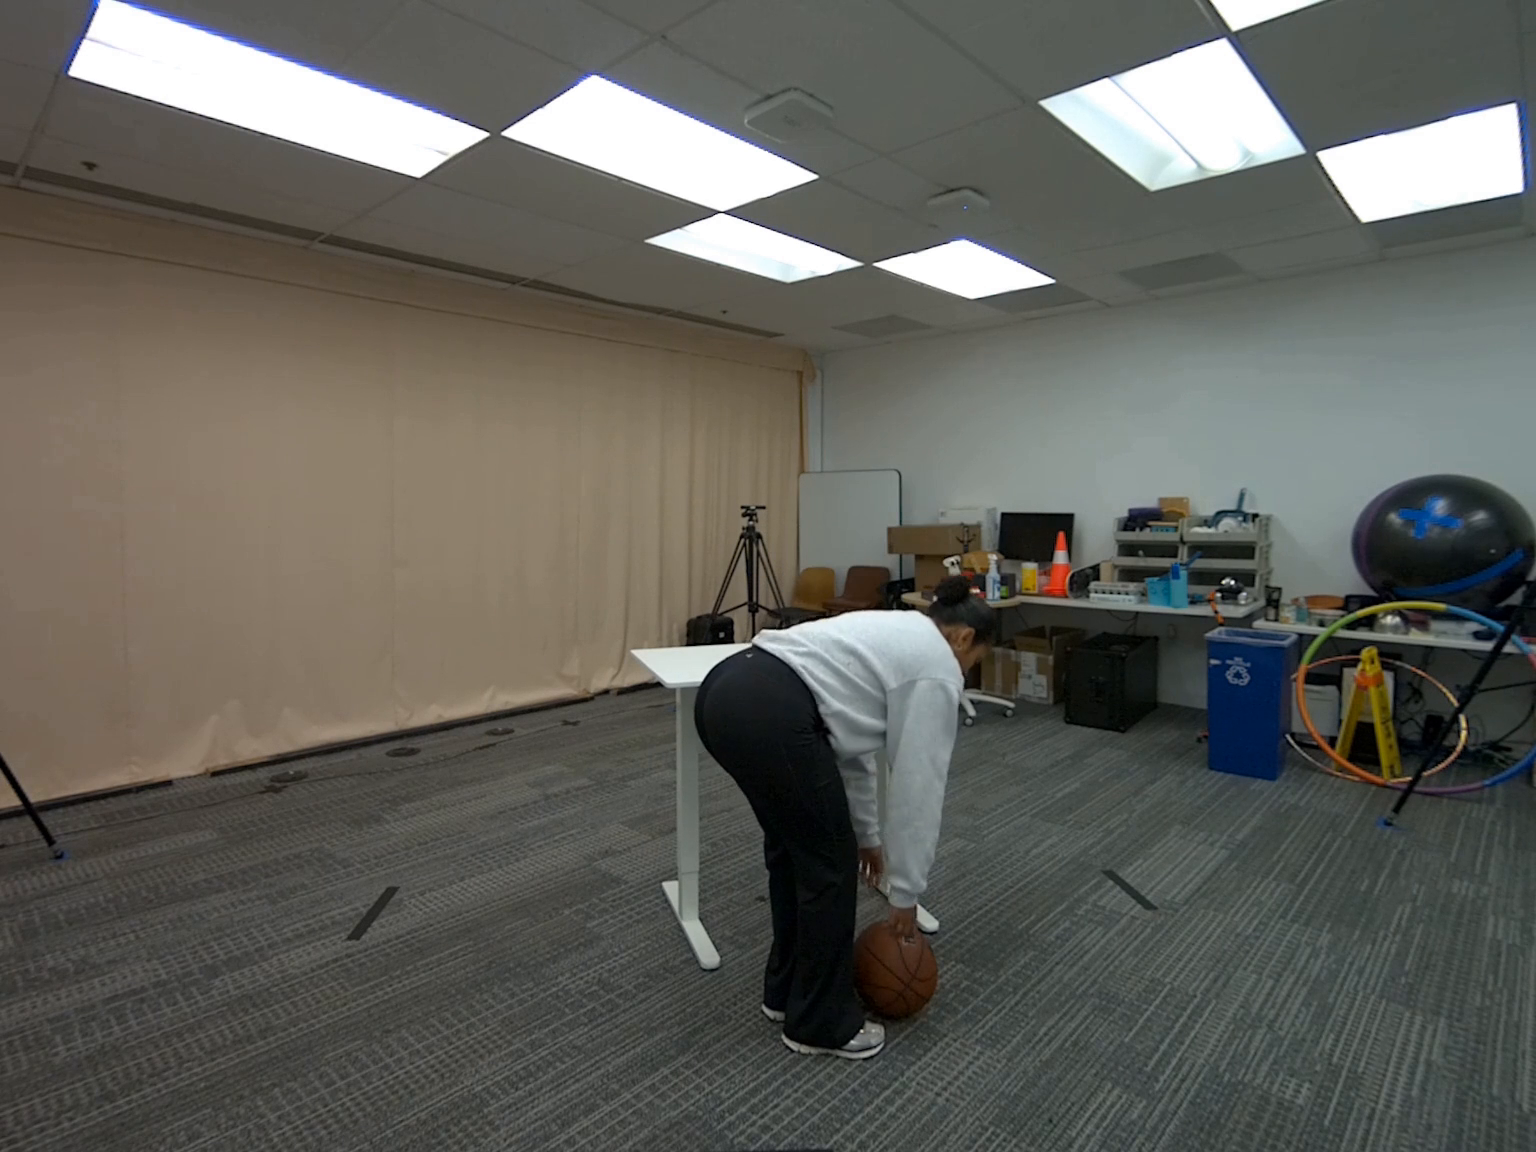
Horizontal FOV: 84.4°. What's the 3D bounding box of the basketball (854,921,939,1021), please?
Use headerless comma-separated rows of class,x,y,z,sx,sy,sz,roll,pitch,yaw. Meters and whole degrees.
basketball,0.350,1.082,2.313,0.236,0.235,0.237,0,4,-2
